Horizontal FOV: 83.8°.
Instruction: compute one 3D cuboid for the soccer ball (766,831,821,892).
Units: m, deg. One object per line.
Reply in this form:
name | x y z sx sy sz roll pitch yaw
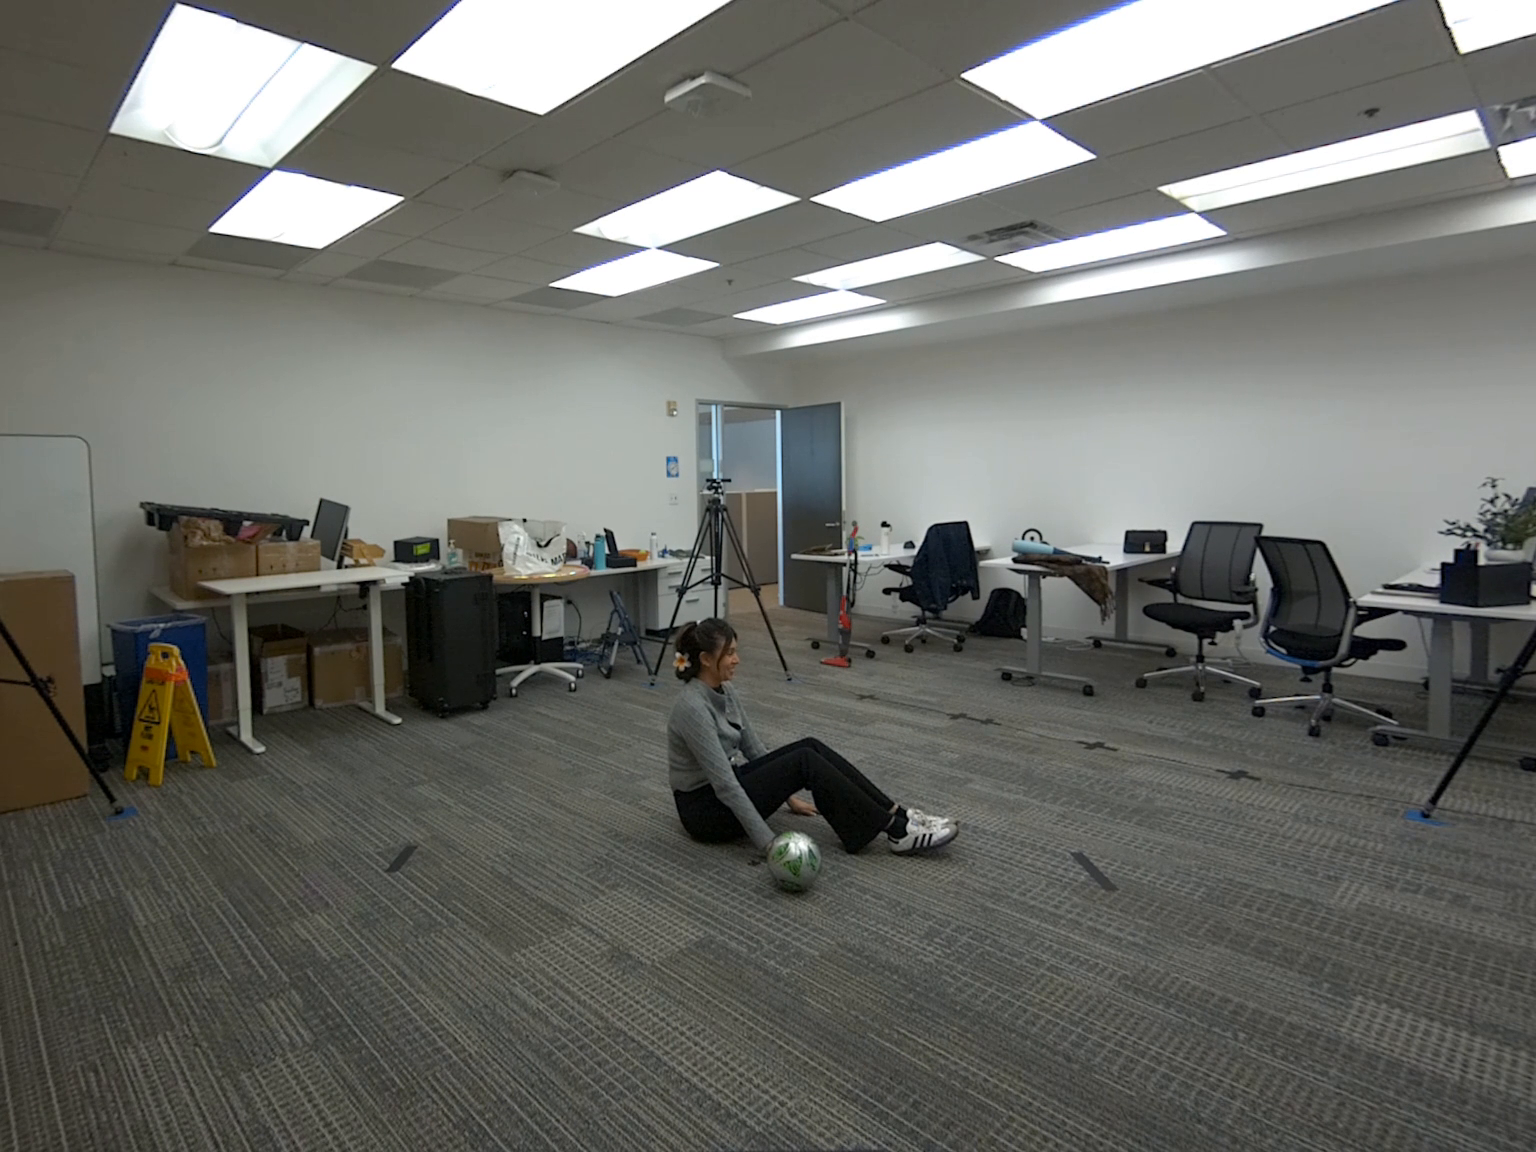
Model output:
soccer ball | 0.091 0.973 2.913 0.187 0.187 0.188 -1 5 -2
